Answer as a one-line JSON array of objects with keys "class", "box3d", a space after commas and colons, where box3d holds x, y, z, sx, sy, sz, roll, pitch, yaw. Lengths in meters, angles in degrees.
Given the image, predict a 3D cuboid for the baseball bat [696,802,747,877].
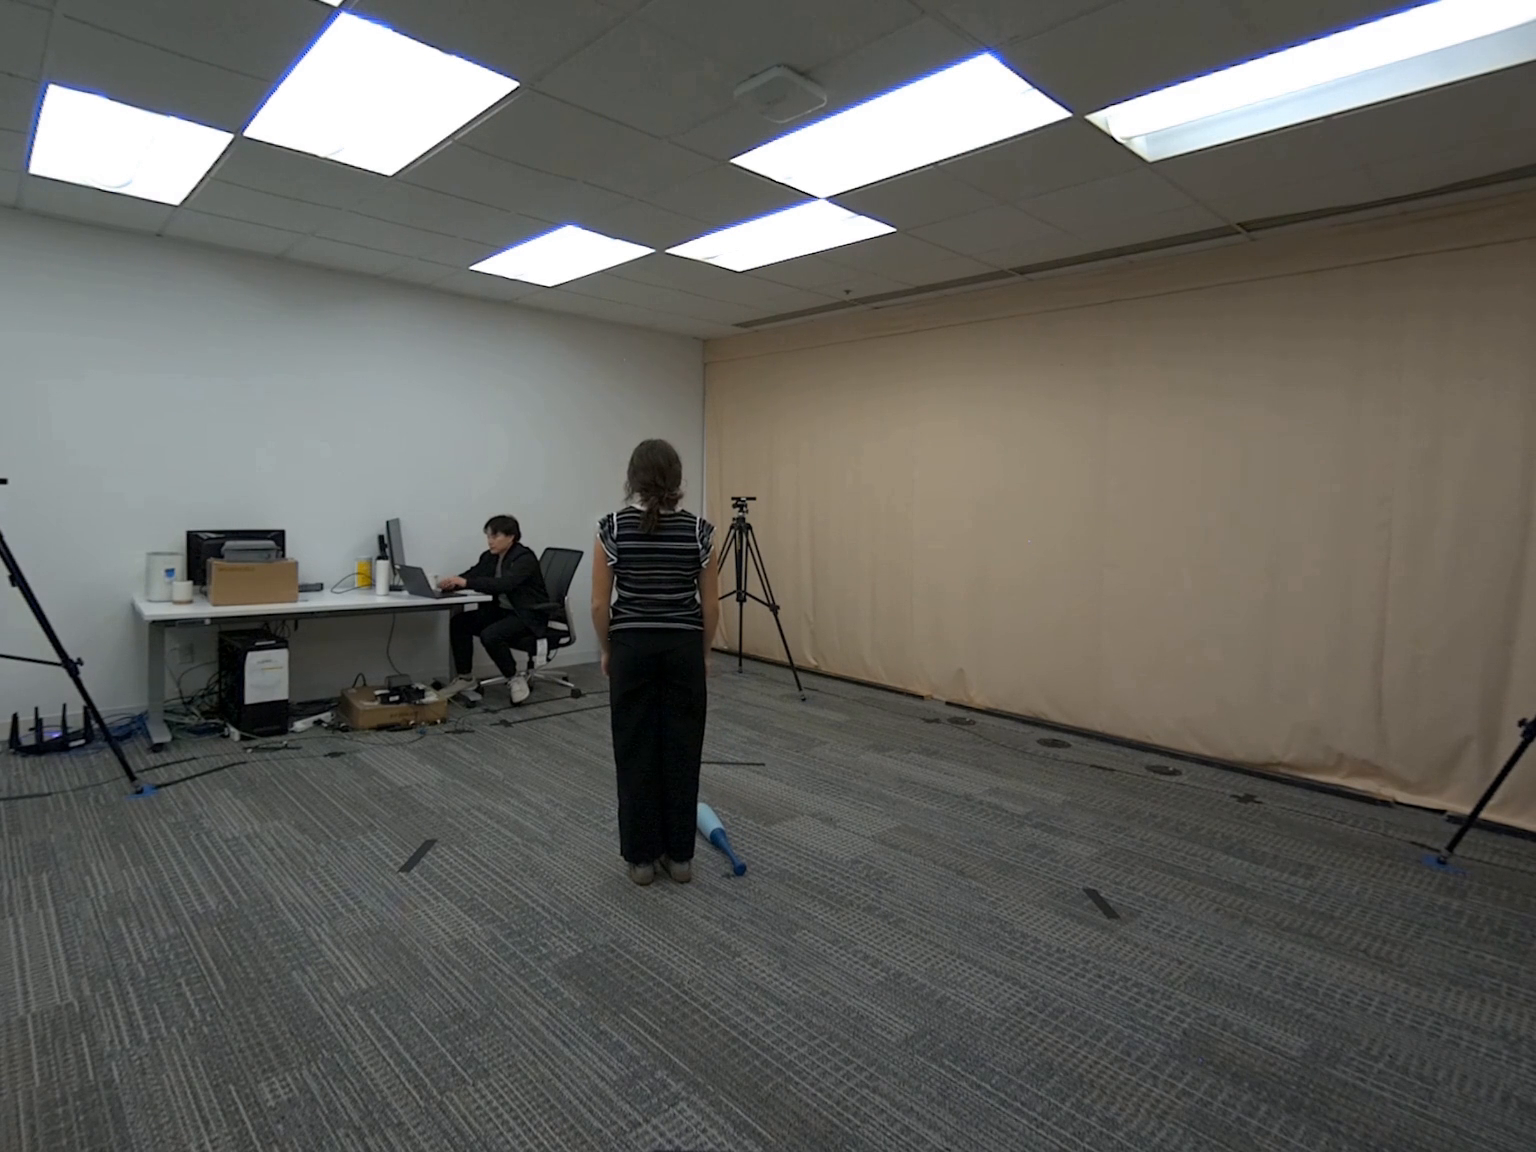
[{"class": "baseball bat", "box3d": [-0.199, 1.048, 3.358, 0.088, 0.088, 0.554, 0, 8, -21]}]
